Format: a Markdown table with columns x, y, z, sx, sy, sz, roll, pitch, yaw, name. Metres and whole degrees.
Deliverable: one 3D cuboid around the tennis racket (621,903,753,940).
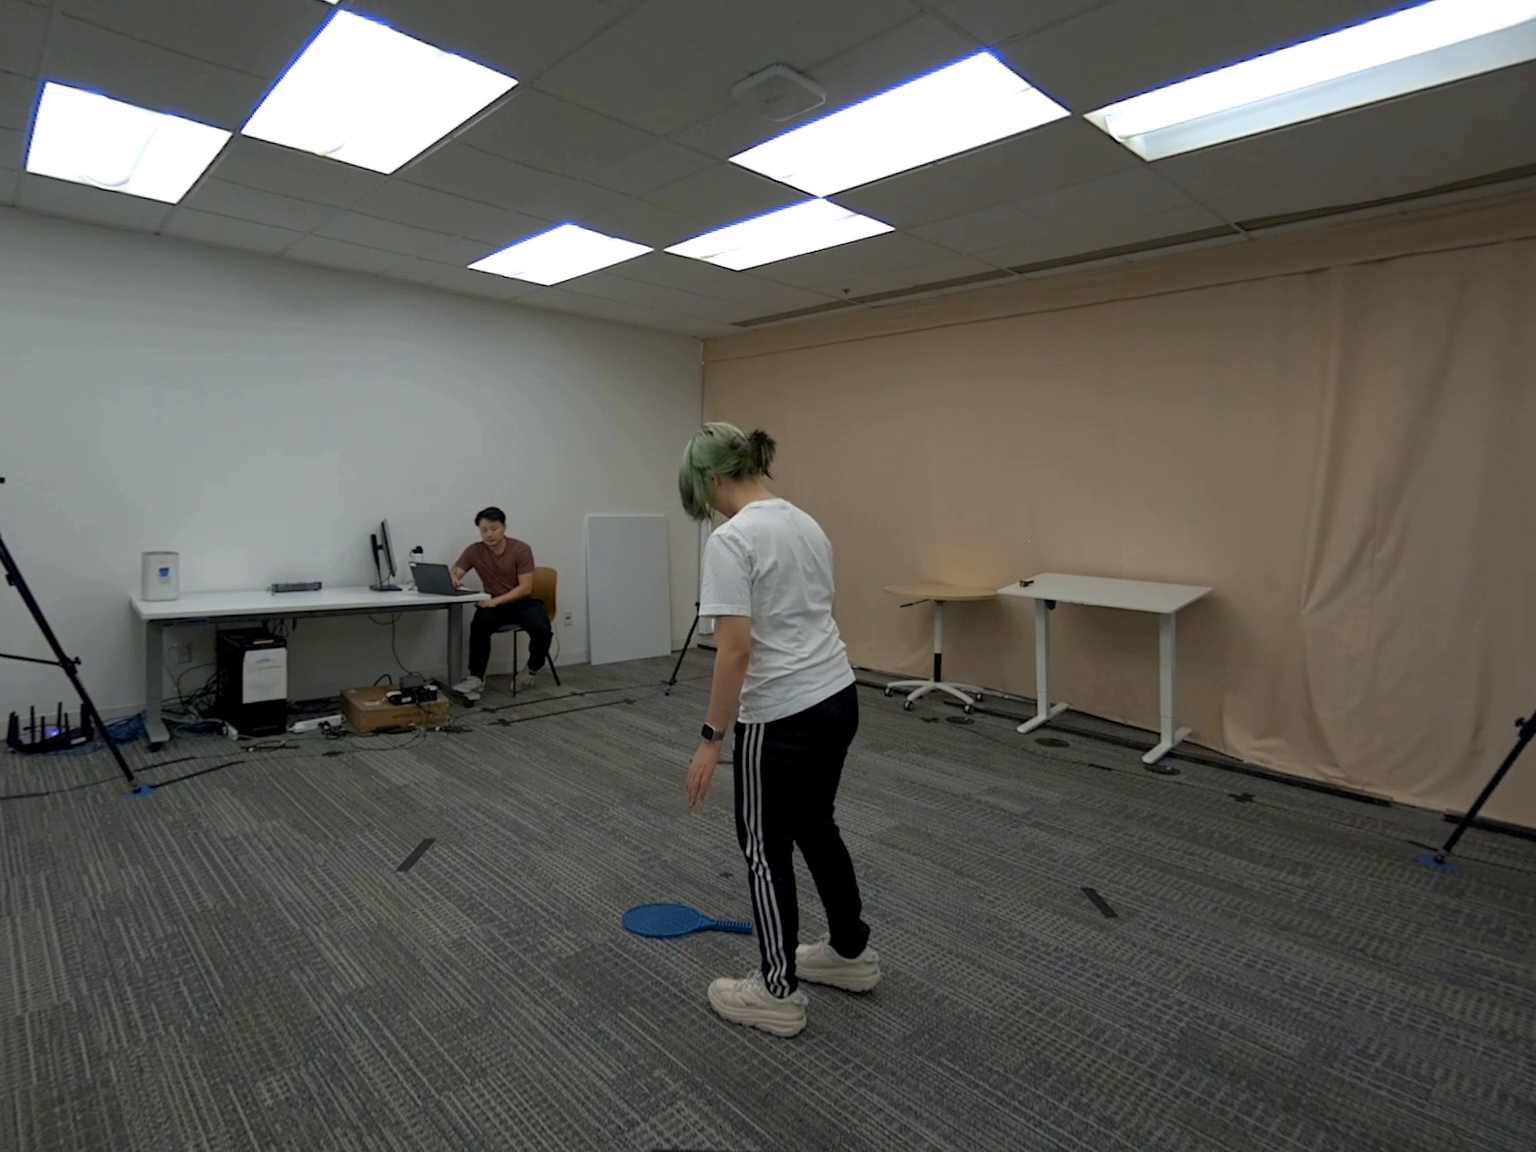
| x | y | z | sx | sy | sz | roll | pitch | yaw | name |
| --- | --- | --- | --- | --- | --- | --- | --- | --- | --- |
| -0.267 | 1.123 | 2.732 | 0.436 | 0.031 | 0.213 | 1 | 5 | 8 | tennis racket |
